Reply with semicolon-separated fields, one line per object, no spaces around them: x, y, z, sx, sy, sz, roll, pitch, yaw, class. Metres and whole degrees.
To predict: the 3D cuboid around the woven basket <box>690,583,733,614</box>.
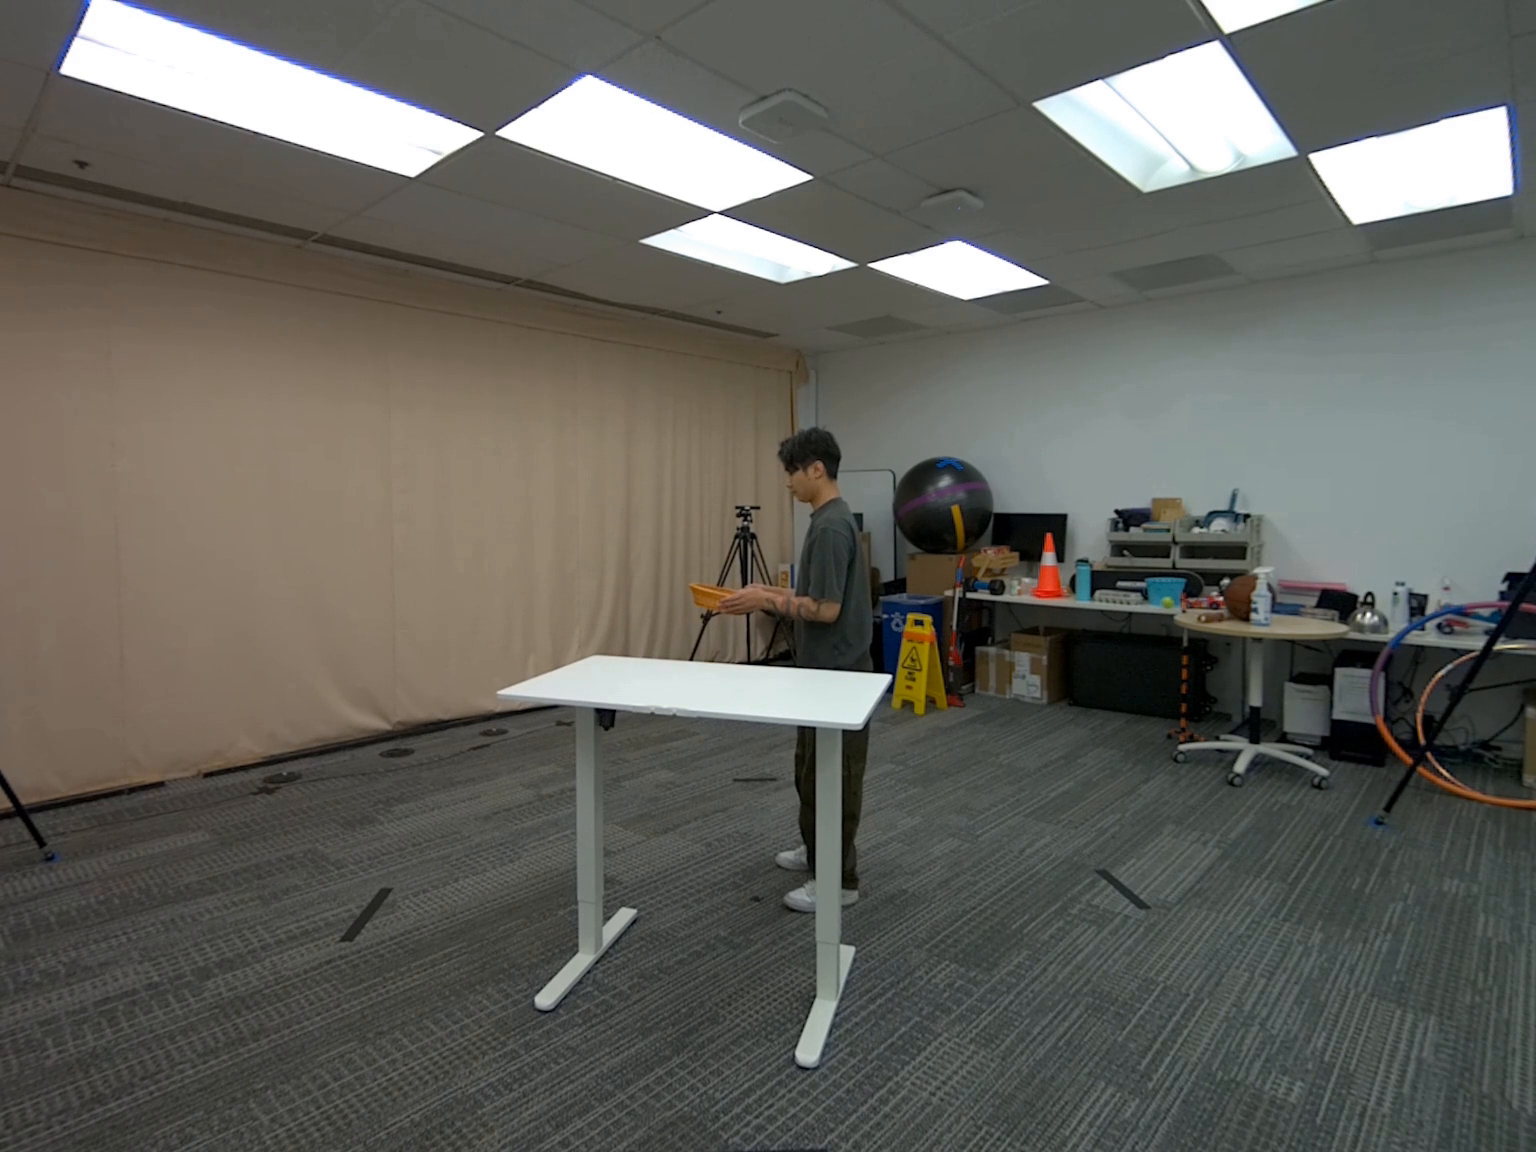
-0.154;0.094;3.133;0.250;0.073;0.354;11;2;-10;woven basket
